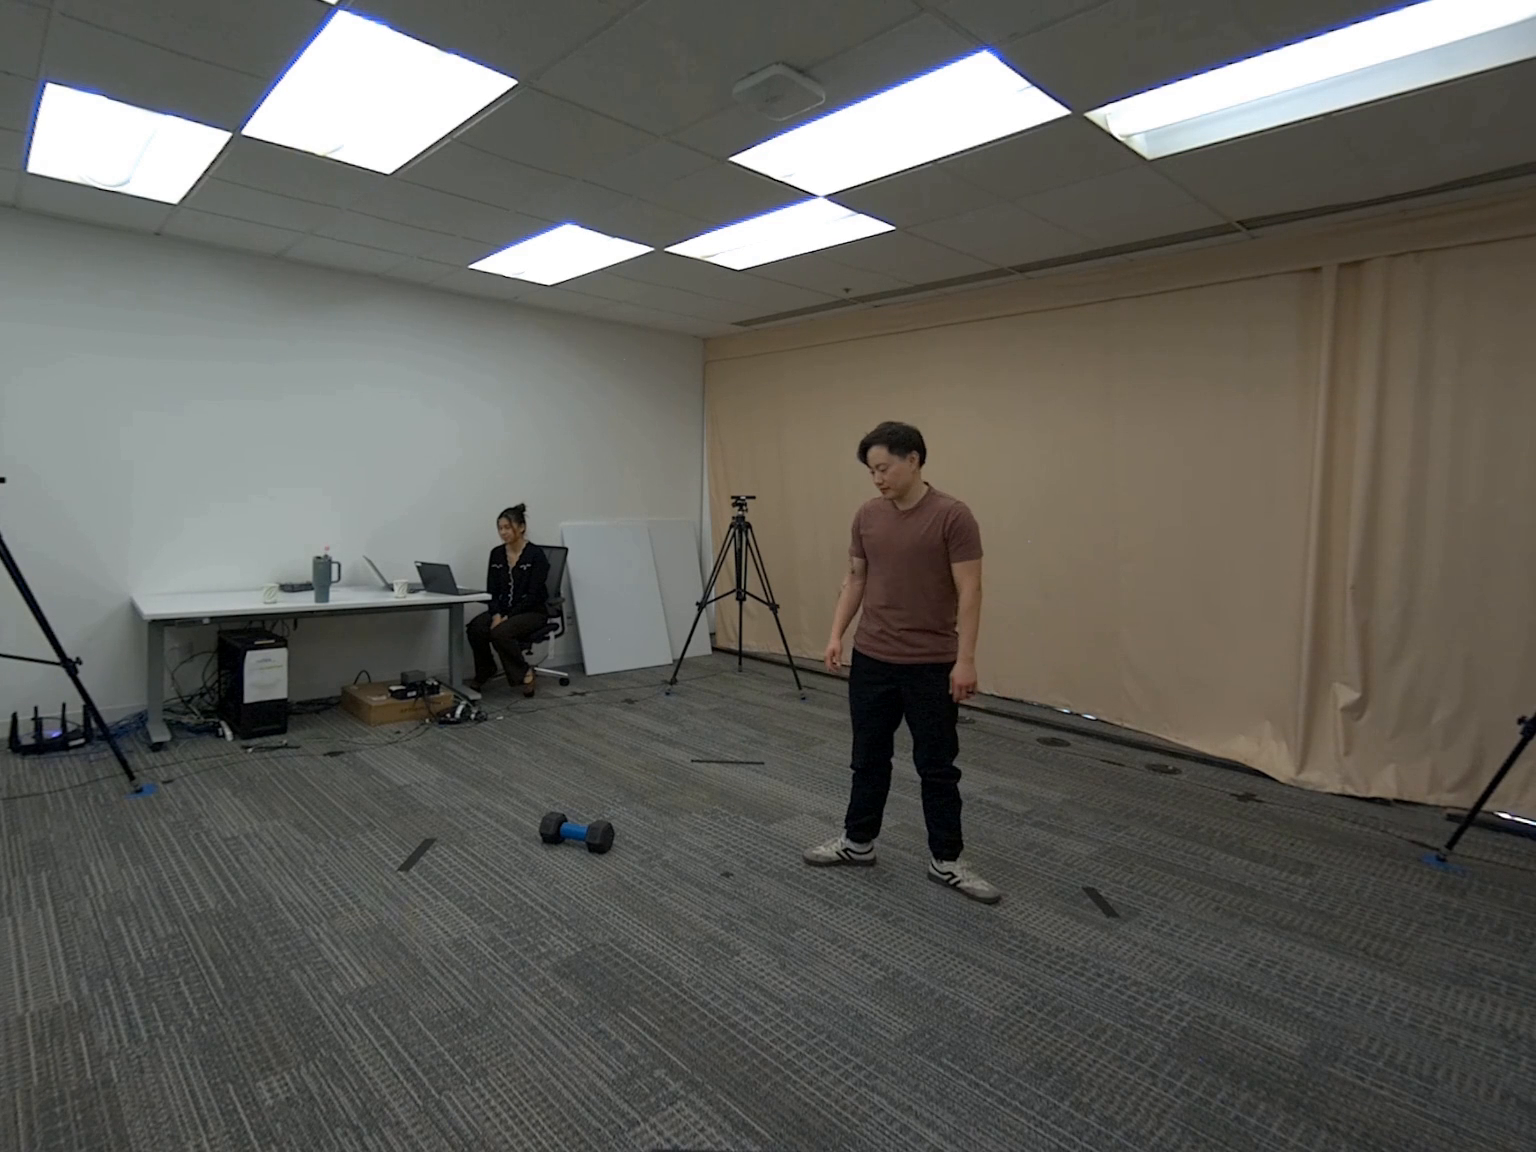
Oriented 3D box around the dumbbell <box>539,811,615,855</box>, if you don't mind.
[{"bbox_3d":[-0.760,1.009,3.326,0.298,0.124,0.105,3,-25,21],"label":"dumbbell"}]
